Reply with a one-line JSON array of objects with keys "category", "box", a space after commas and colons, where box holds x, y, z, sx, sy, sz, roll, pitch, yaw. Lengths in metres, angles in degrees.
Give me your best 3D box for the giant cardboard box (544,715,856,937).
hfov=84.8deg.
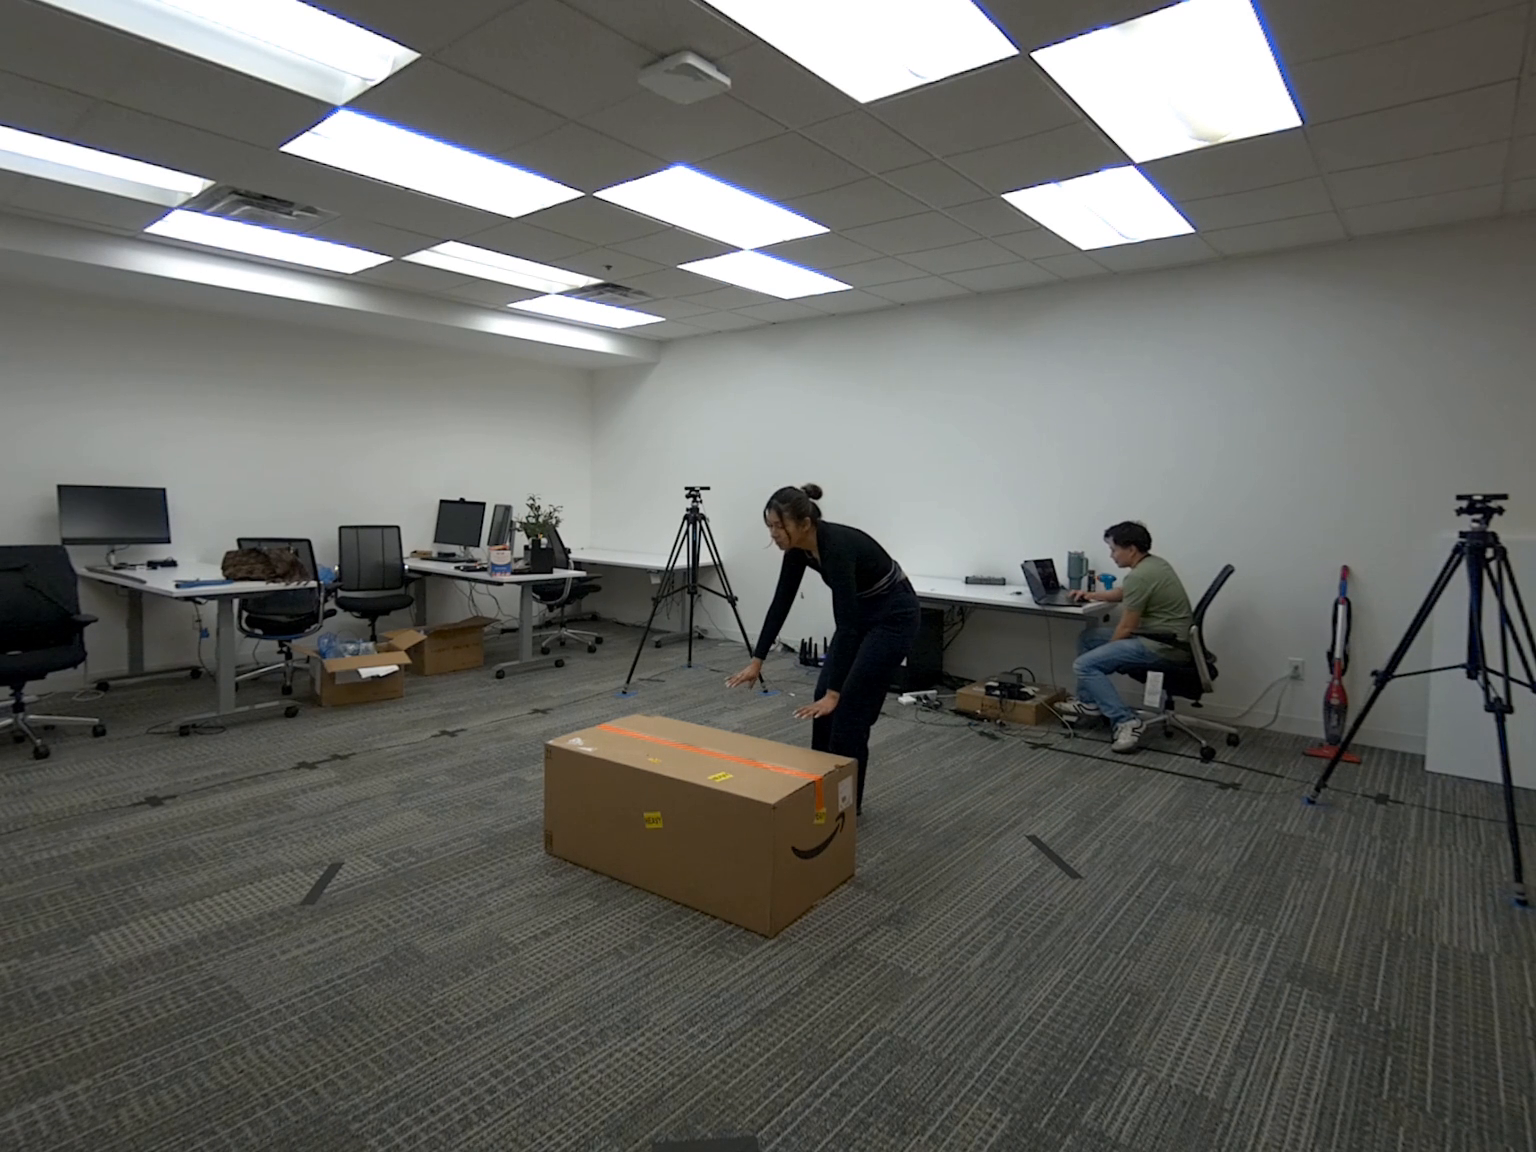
[{"category": "giant cardboard box", "box": [-0.273, 0.846, 3.135, 1.059, 0.425, 0.561, 4, 5, 34]}]
